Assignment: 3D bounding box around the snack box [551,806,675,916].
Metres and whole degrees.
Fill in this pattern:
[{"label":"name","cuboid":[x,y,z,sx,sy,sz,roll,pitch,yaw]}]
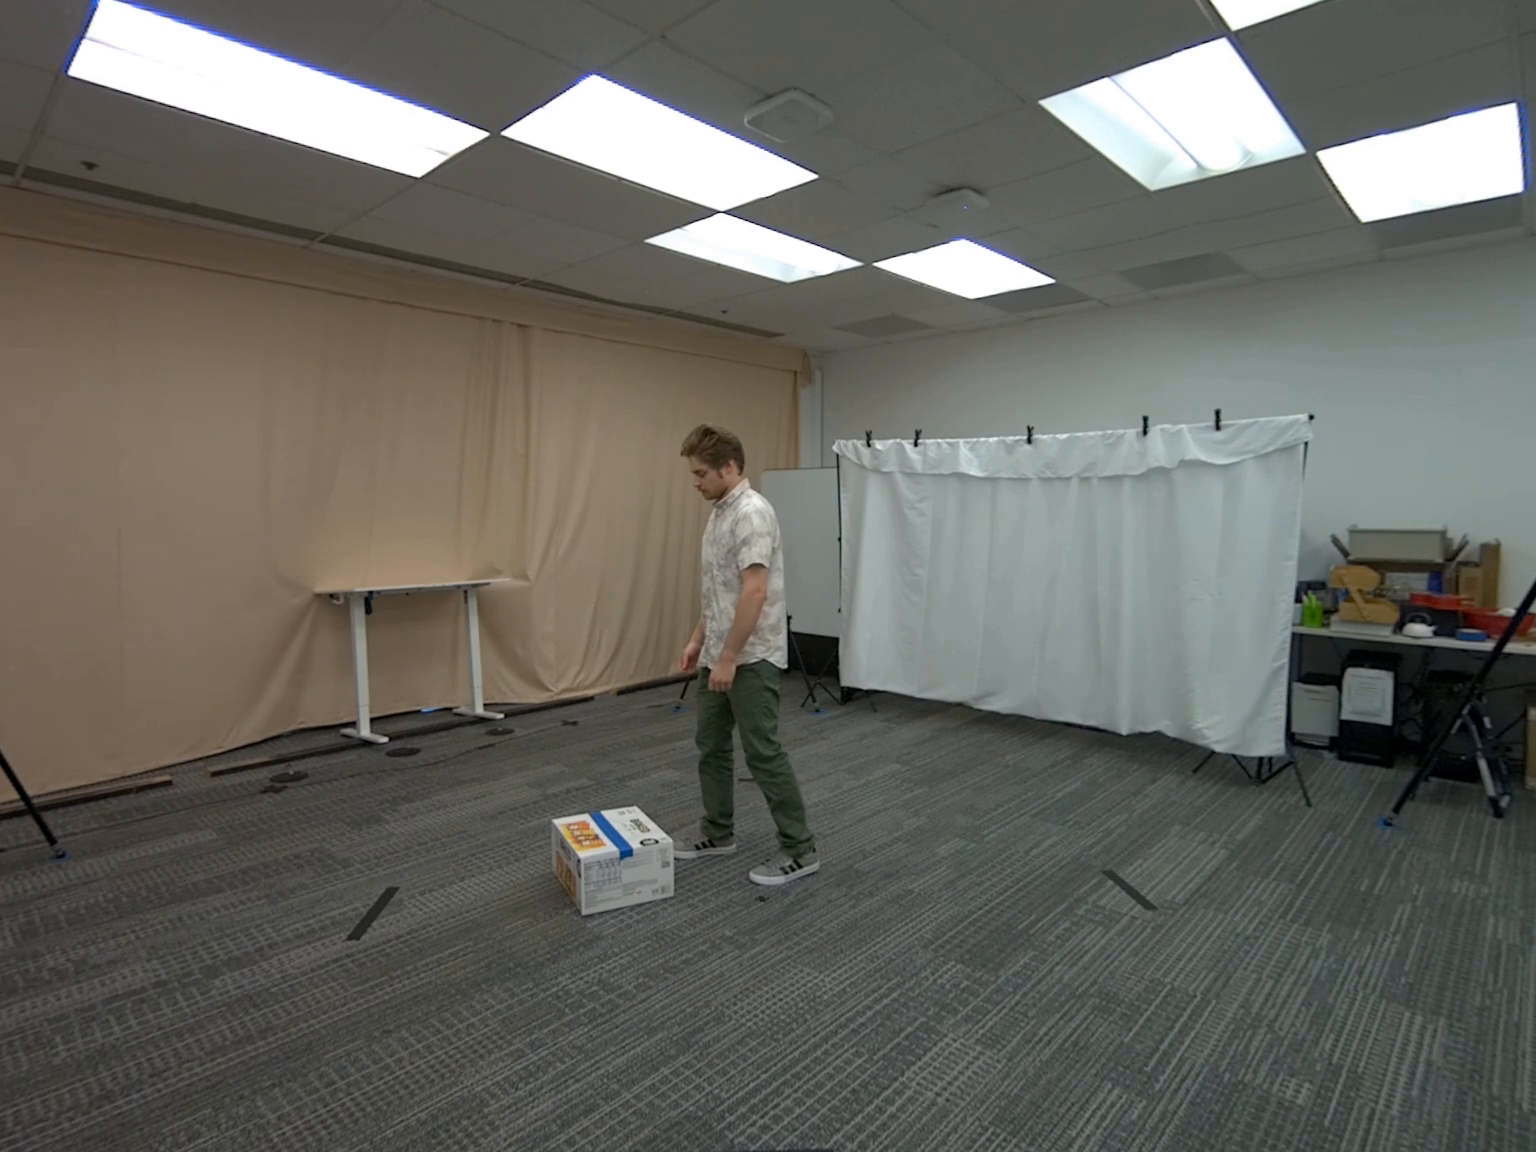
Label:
[{"label":"snack box","cuboid":[-0.578,1.036,3.099,0.332,0.205,0.416,-3,4,-27]}]
